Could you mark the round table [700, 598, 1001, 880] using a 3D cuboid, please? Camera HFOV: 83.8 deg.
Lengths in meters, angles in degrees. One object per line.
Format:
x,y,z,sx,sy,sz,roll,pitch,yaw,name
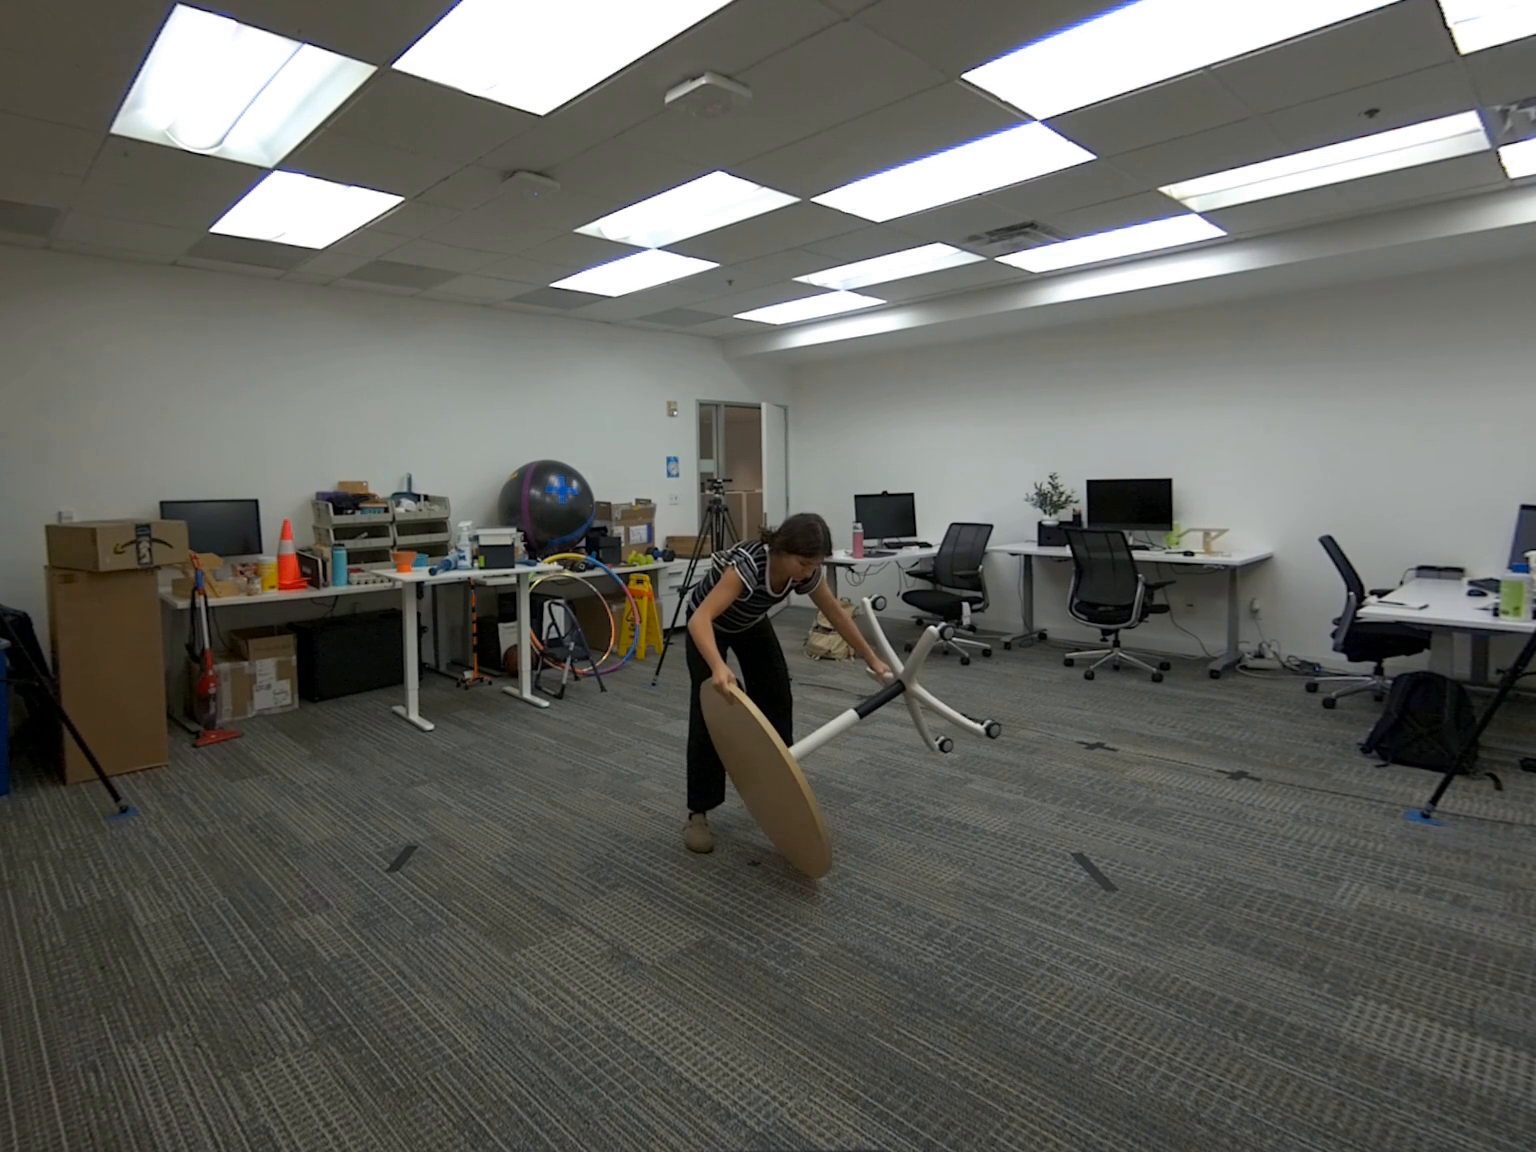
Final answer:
0.291,0.537,3.123,0.787,0.752,0.783,-28,15,-21,round table
